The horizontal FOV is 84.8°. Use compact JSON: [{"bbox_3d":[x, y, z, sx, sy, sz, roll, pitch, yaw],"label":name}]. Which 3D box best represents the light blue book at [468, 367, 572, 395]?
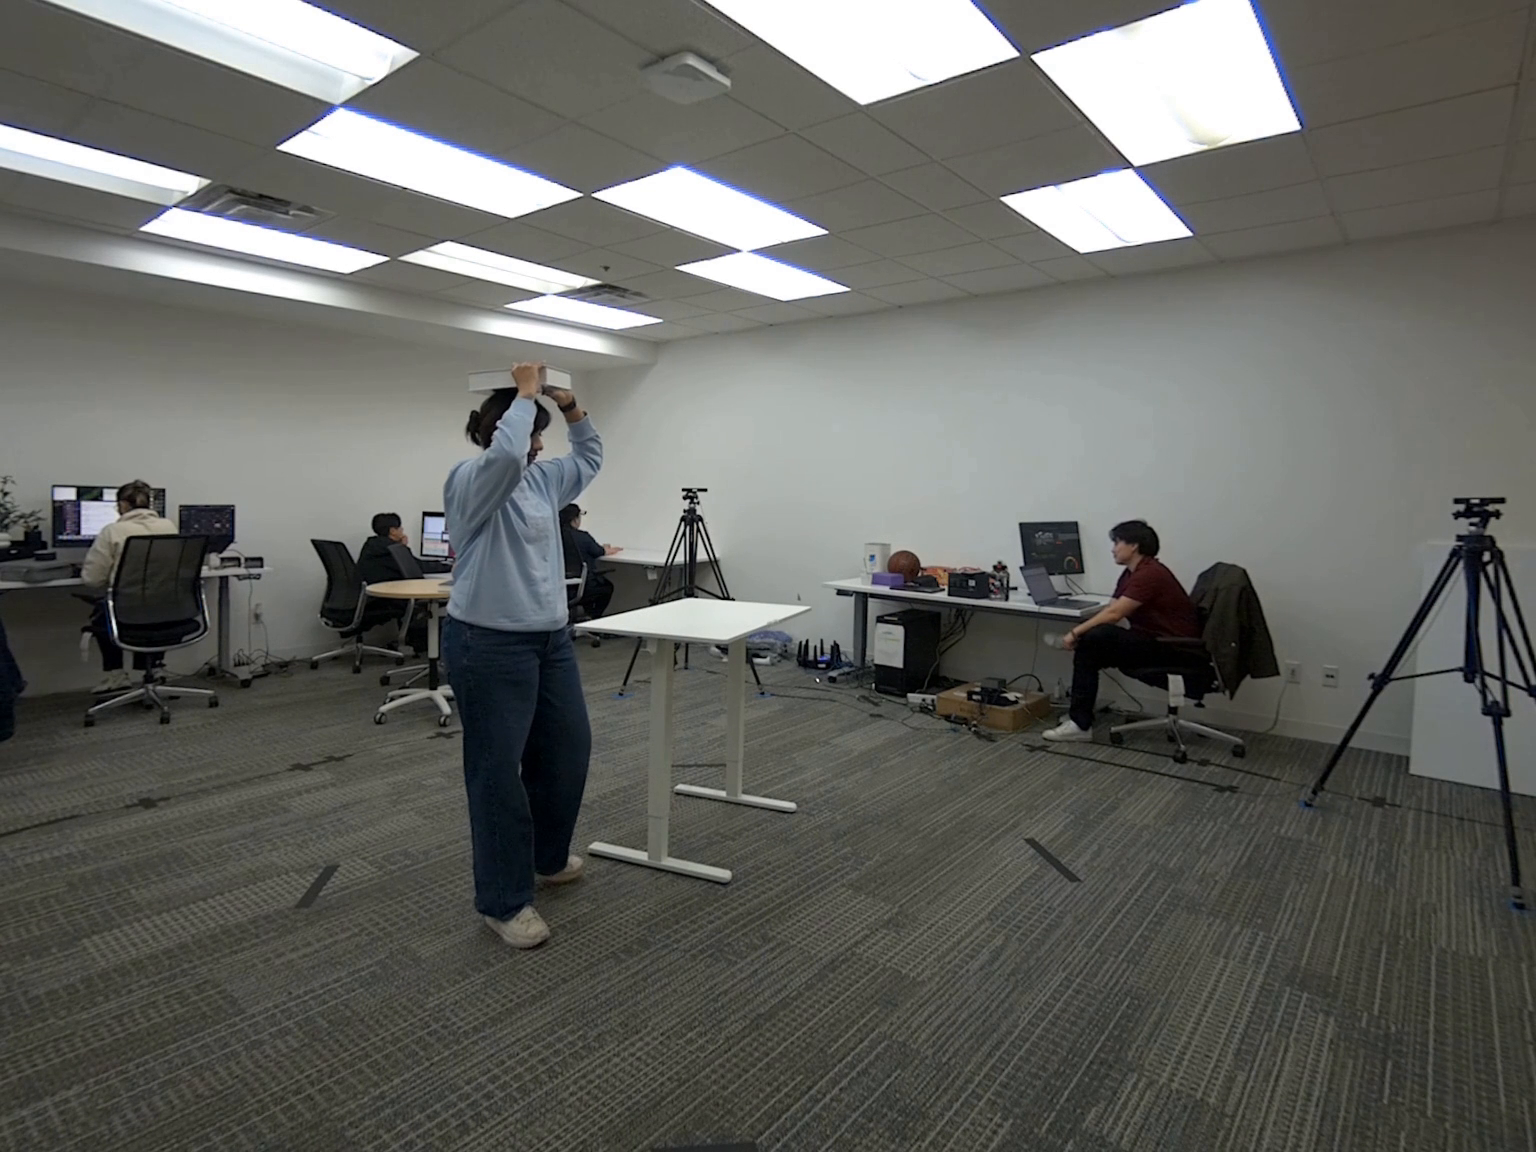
[{"bbox_3d":[-0.766,-0.608,2.625,0.262,0.059,0.191,-2,4,2],"label":"light blue book"}]
